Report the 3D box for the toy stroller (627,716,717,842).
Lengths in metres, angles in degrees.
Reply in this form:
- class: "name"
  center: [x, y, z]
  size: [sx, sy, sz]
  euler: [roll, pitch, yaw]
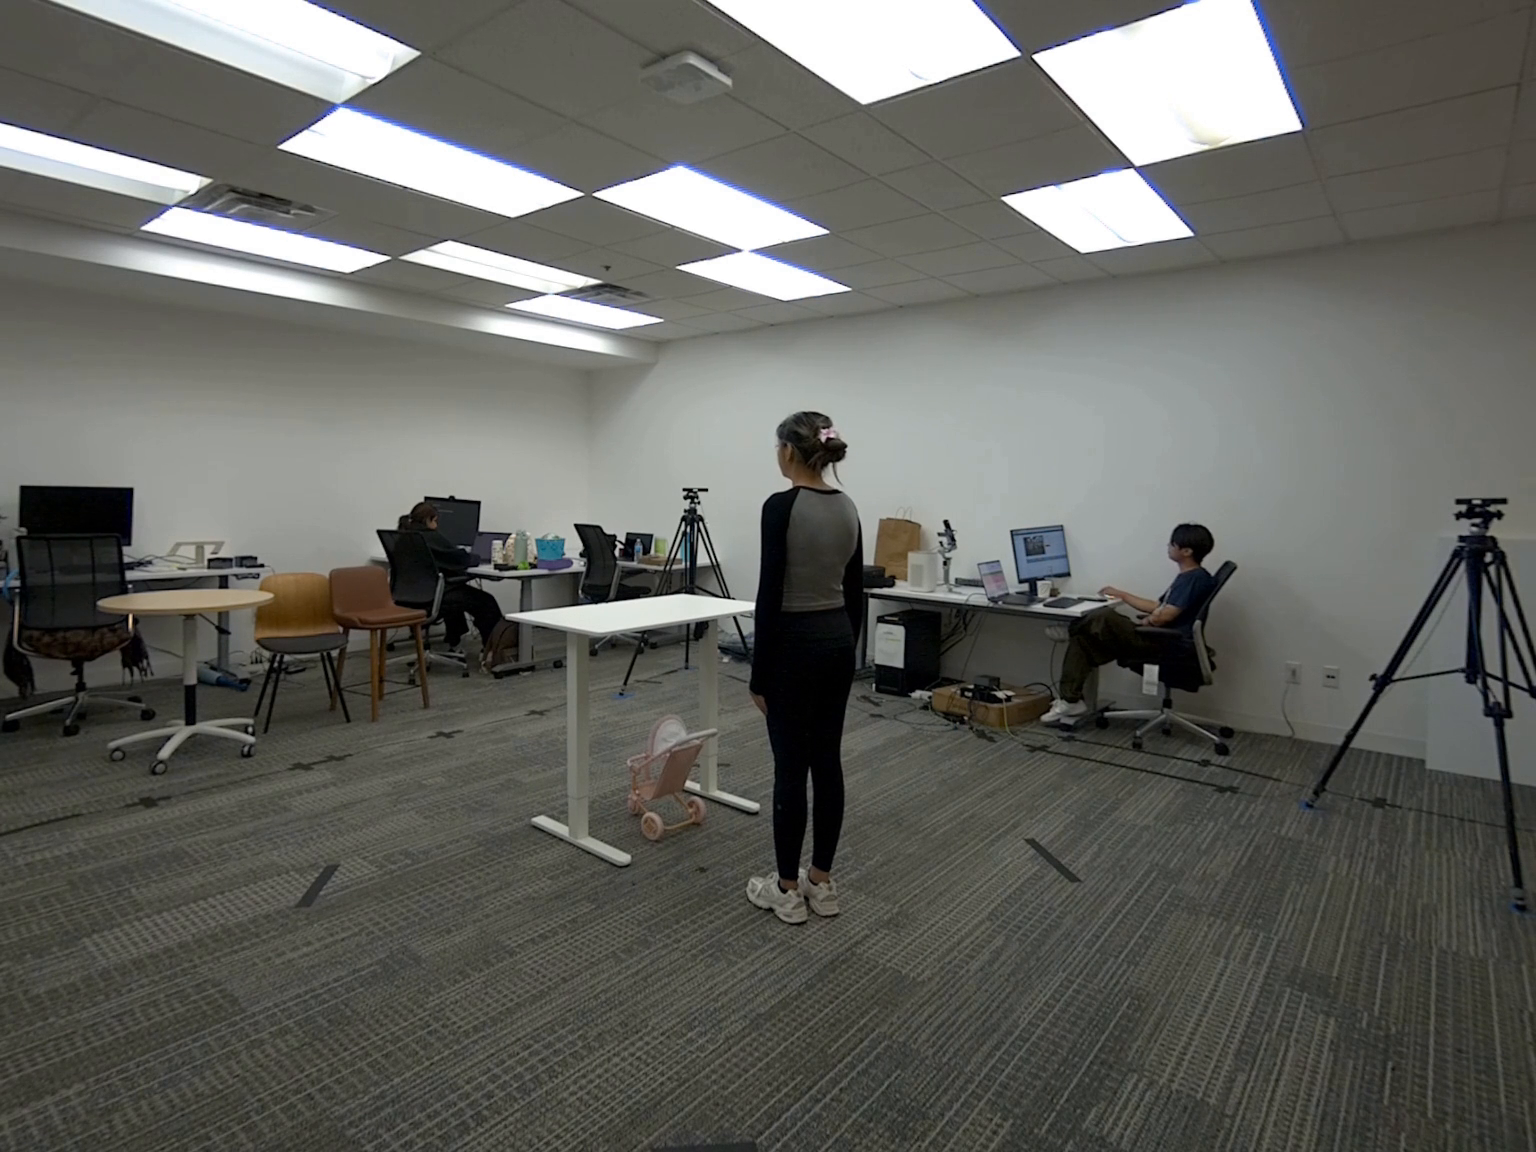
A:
- class: "toy stroller"
  center: [-0.433, 0.803, 3.492]
  size: [0.273, 0.530, 0.355]
  euler: [-2, 19, -45]
